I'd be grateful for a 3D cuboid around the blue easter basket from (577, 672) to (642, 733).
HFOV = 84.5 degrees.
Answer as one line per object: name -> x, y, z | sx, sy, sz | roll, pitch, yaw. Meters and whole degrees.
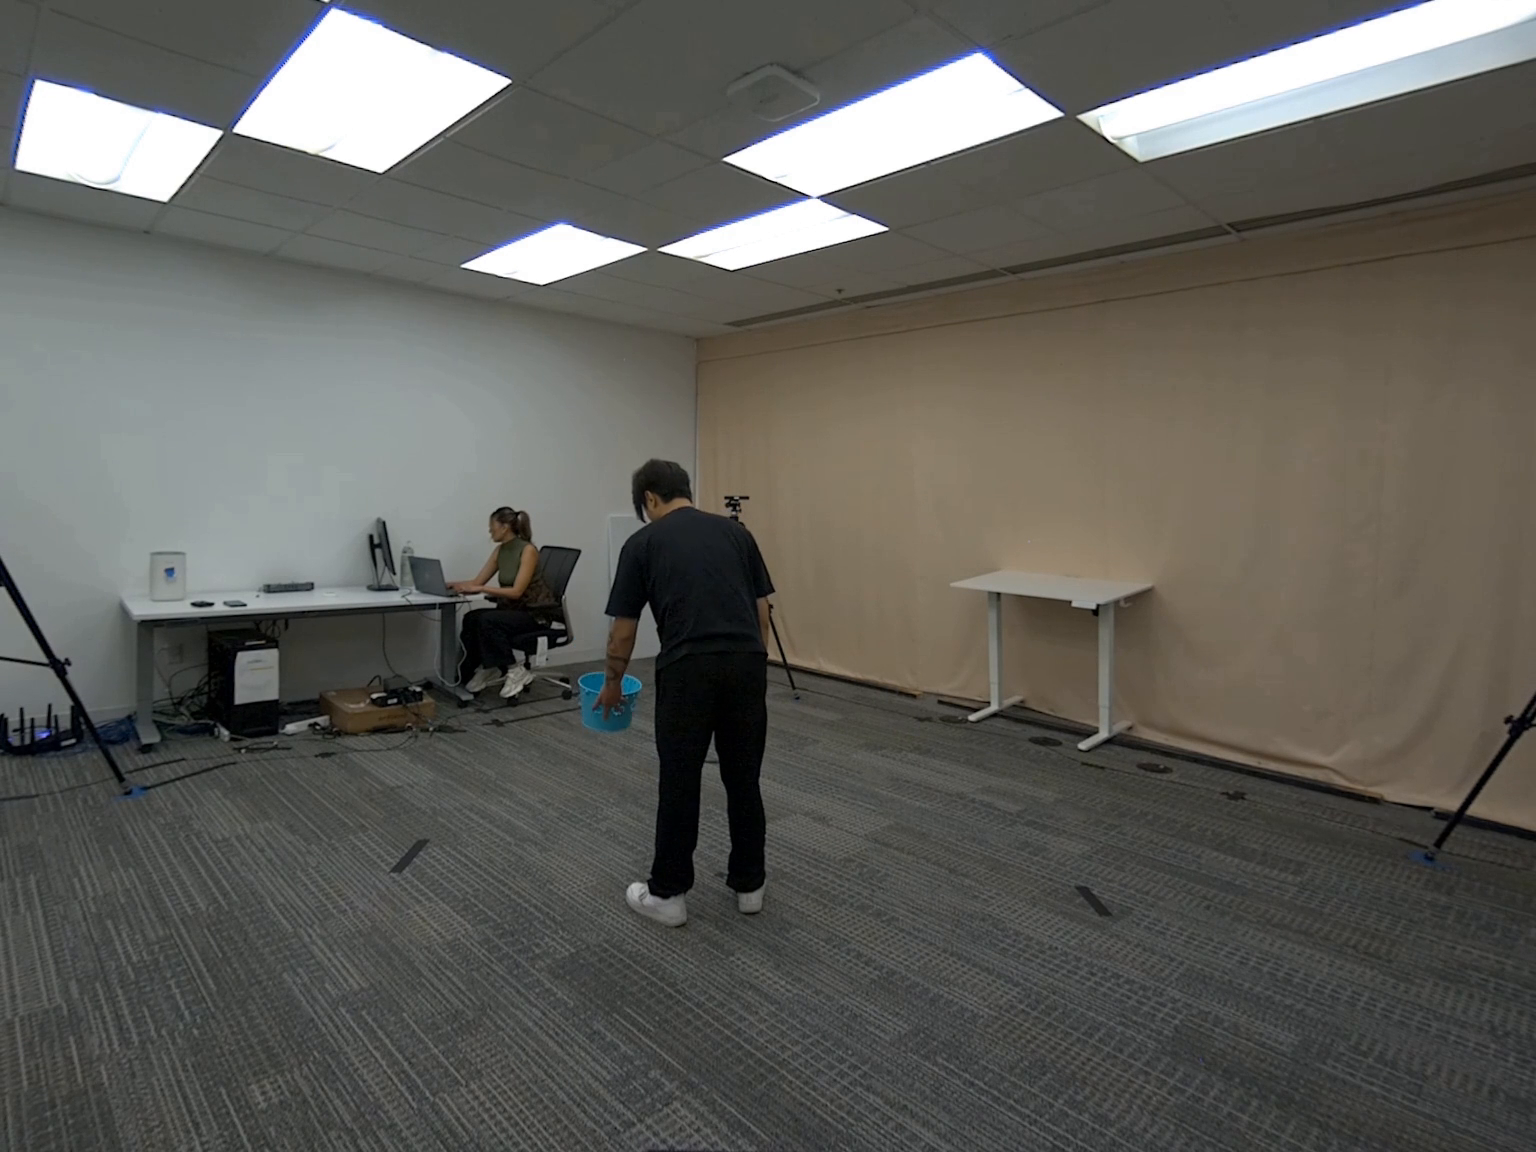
blue easter basket -> -0.593, 0.467, 3.090 | 0.243, 0.155, 0.245 | 8, 10, -3
